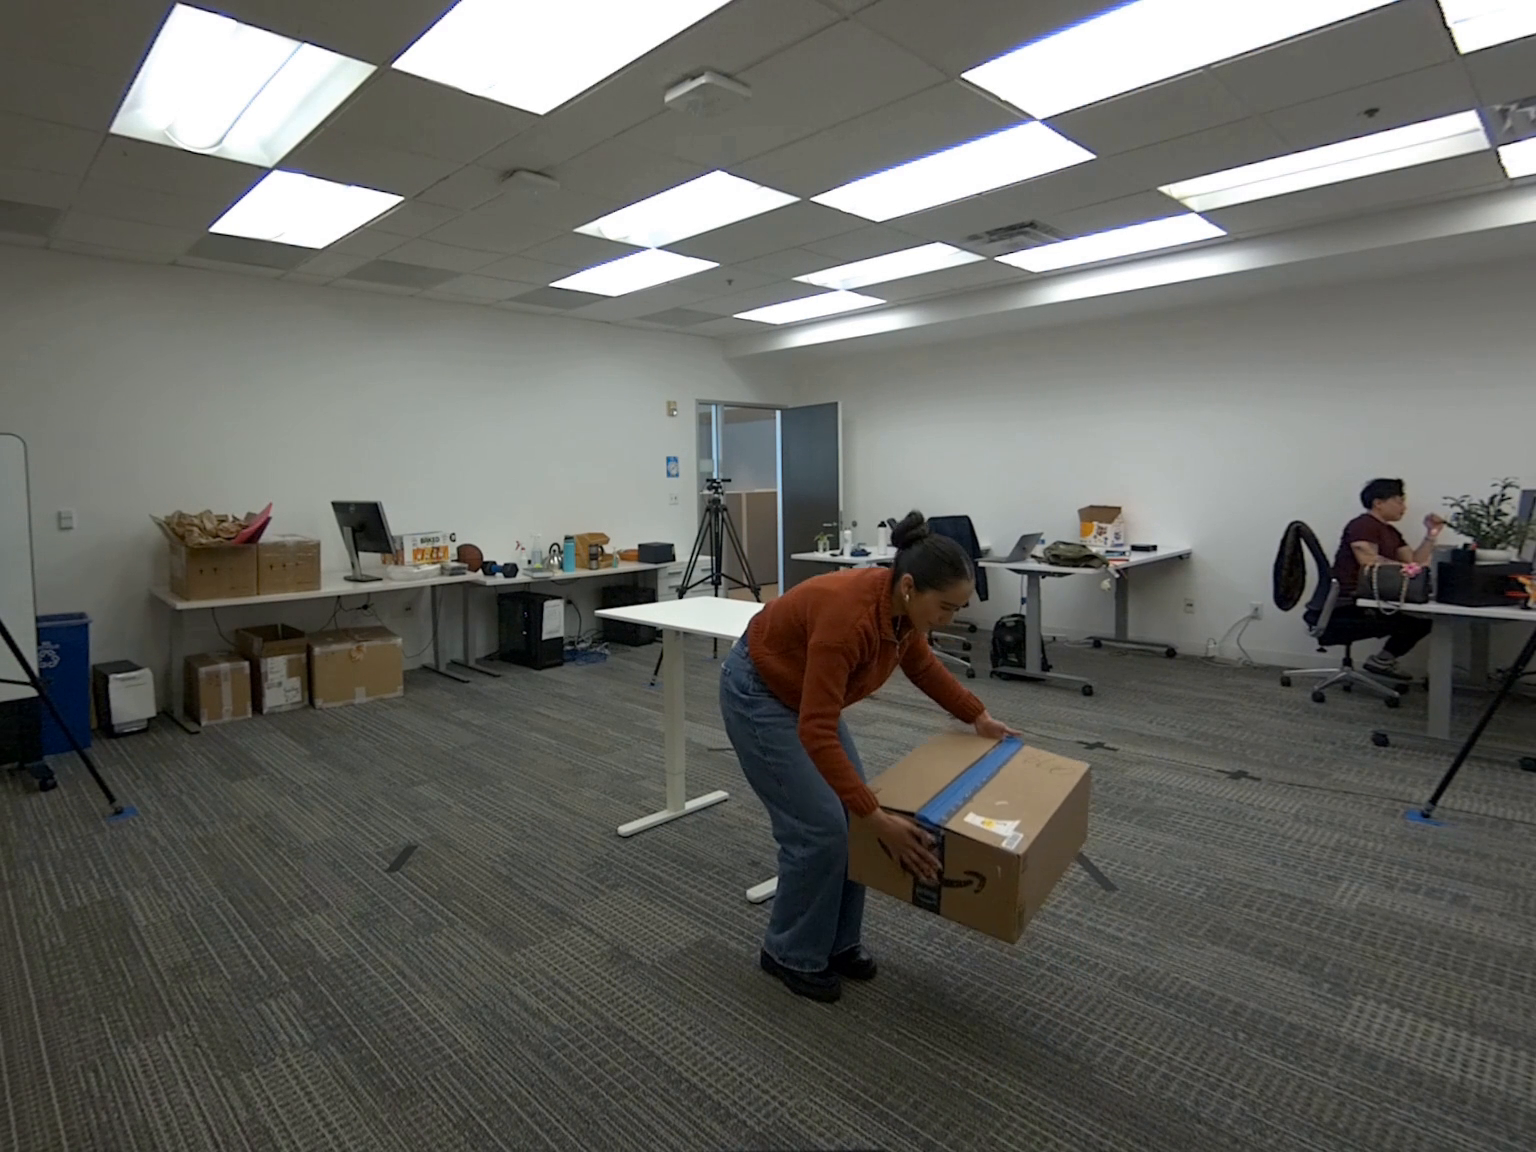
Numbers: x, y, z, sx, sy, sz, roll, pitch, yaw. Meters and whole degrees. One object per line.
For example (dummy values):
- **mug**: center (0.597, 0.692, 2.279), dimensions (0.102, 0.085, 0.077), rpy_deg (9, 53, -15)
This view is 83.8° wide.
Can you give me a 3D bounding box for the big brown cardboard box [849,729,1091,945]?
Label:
- **big brown cardboard box**: center (0.520, 0.615, 2.169), dimensions (0.430, 0.231, 0.576), rpy_deg (8, 13, 35)
